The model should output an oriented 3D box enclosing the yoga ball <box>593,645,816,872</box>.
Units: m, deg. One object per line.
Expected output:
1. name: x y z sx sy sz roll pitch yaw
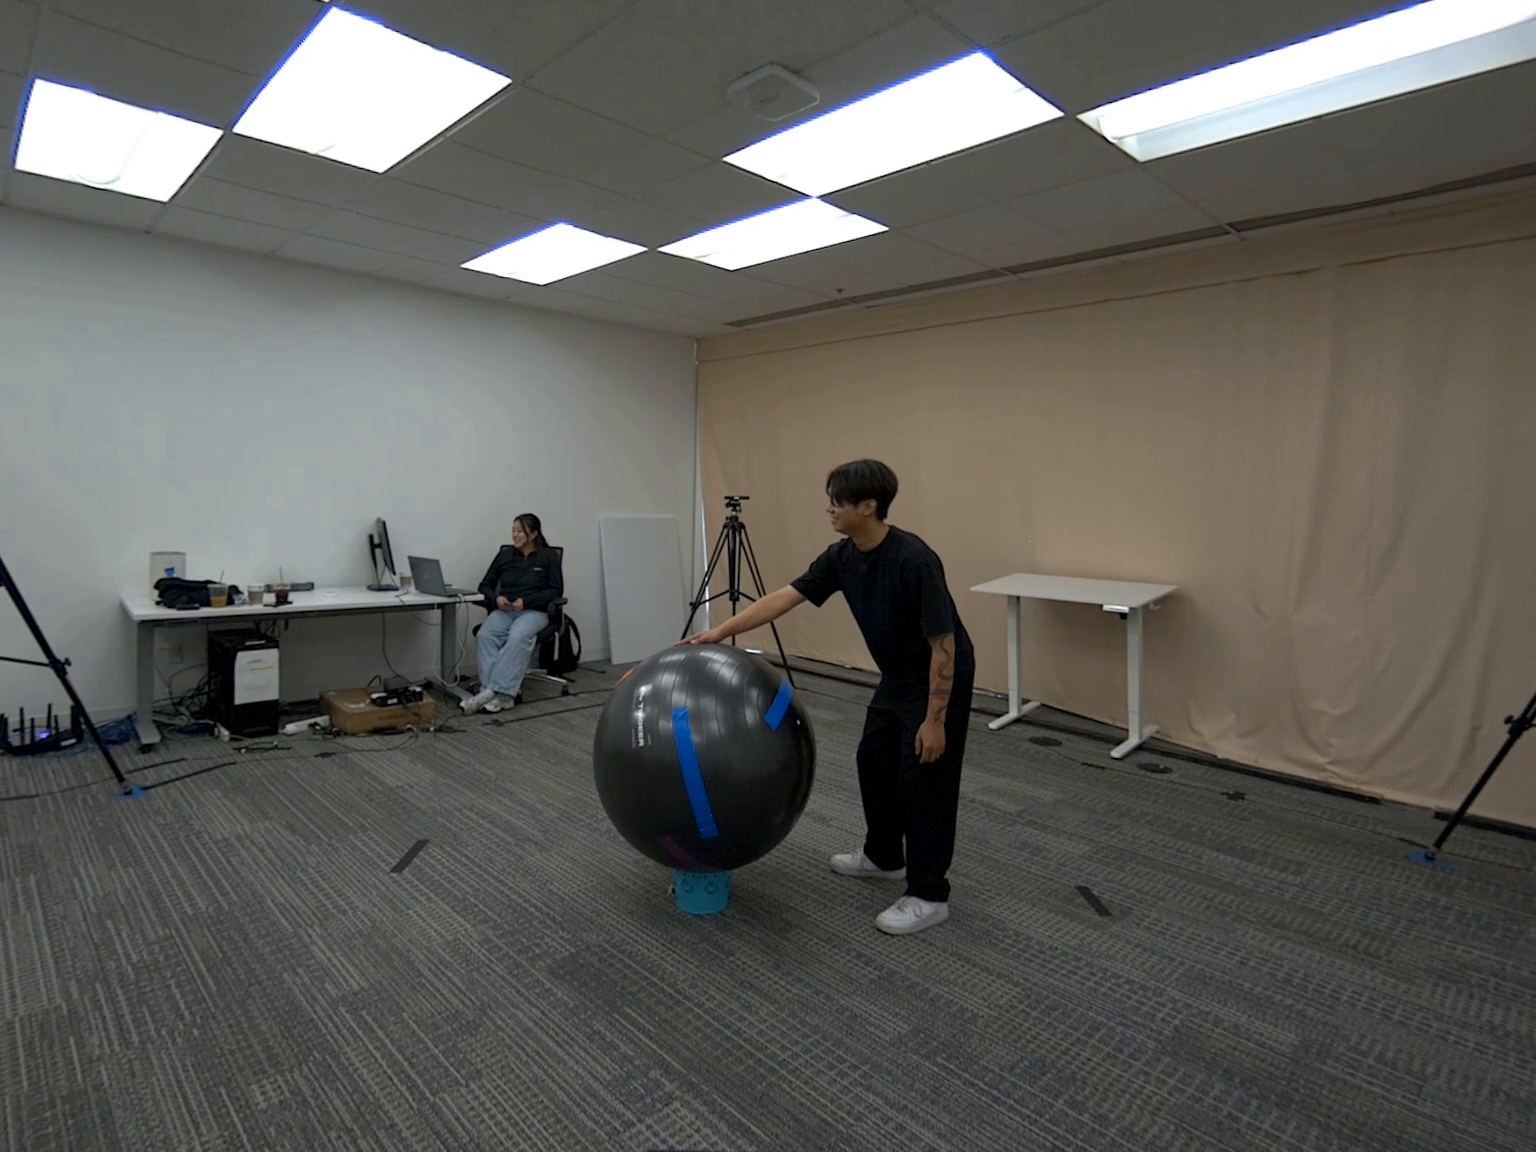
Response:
1. yoga ball: -0.232 0.617 2.874 0.757 0.756 0.761 1 4 -1
